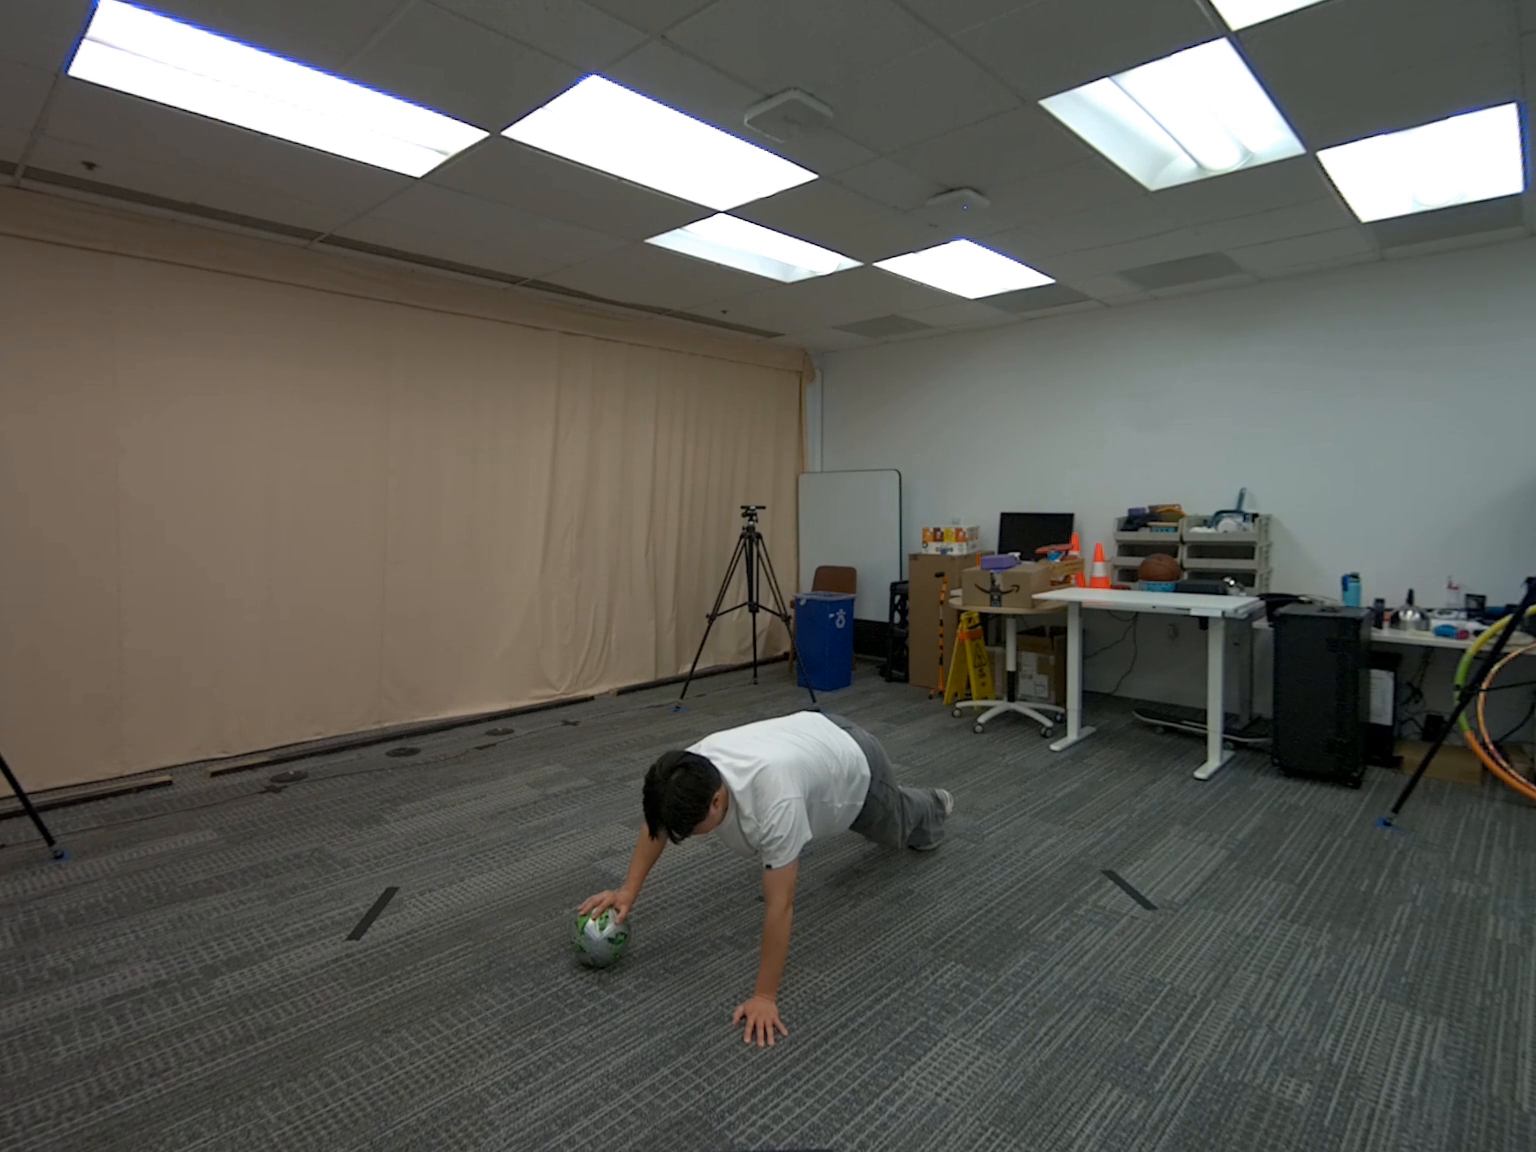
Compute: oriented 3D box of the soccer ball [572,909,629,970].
[{"bbox_3d":[-0.500,1.097,2.566,0.187,0.187,0.188,0,4,-2],"label":"soccer ball"}]
